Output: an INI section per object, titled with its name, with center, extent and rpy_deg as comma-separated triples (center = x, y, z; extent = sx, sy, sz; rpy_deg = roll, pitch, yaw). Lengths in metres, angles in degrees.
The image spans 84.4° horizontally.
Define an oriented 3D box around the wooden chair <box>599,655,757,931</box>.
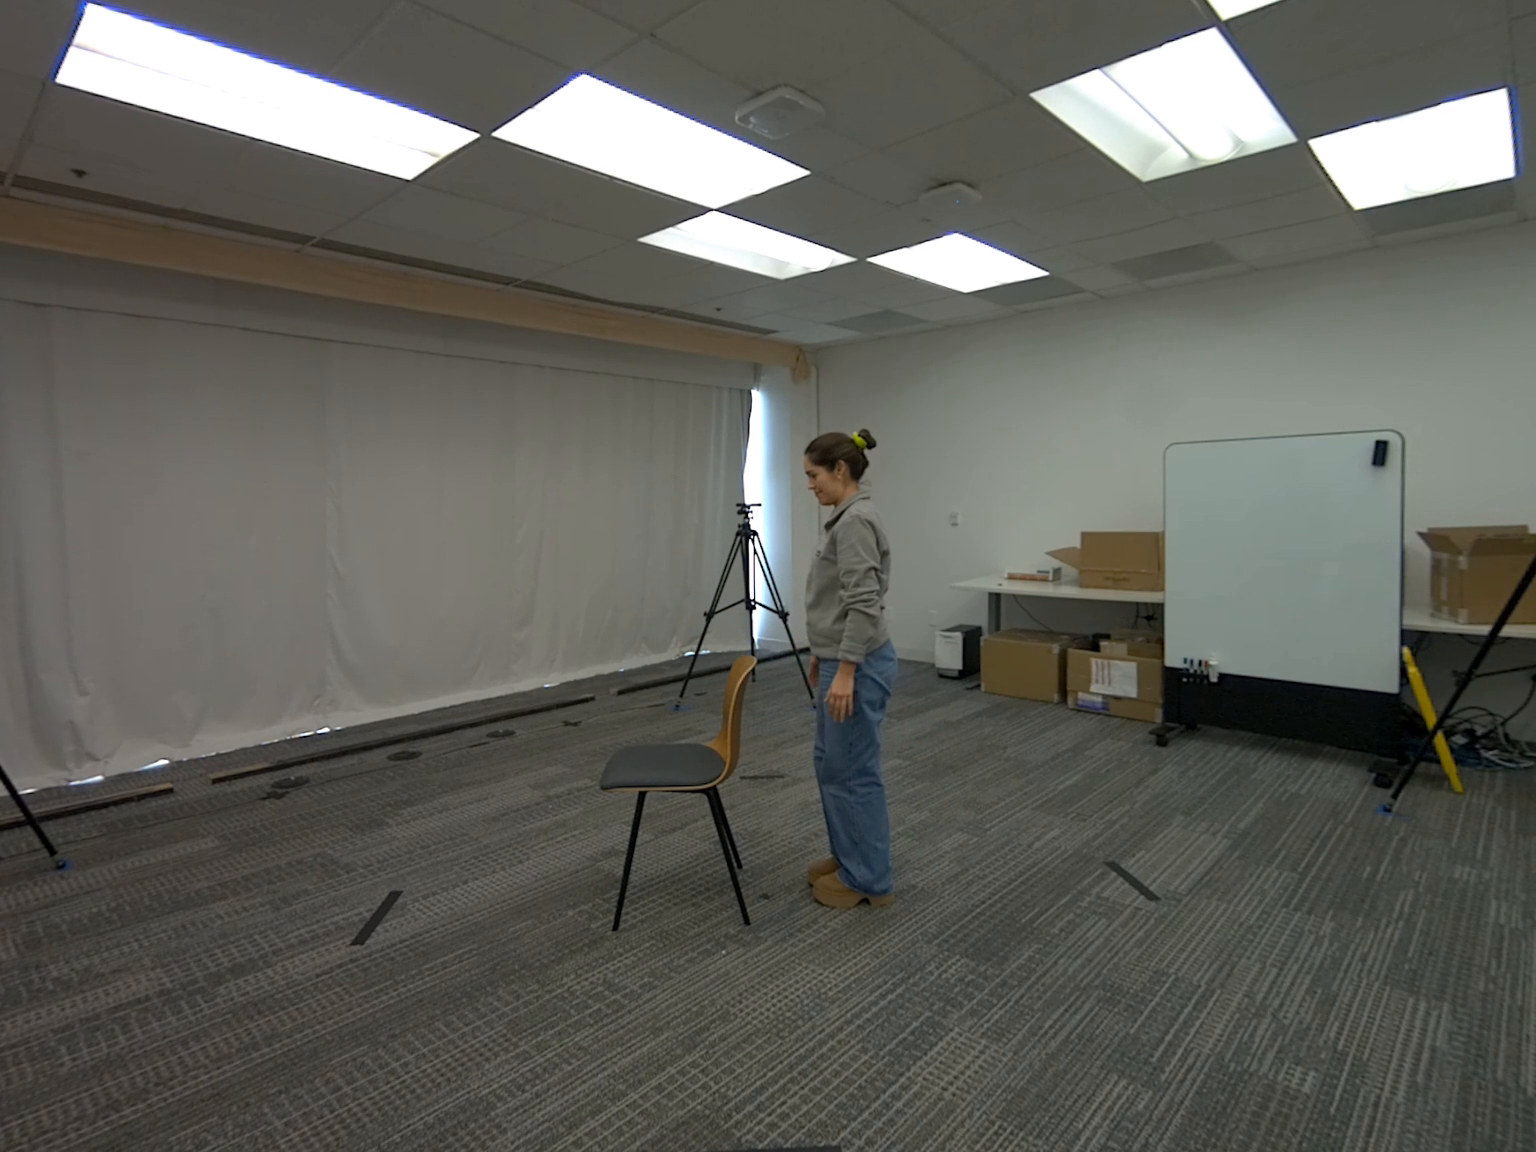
[wooden chair]
center = -0.320, 0.721, 2.966
extent = 0.521, 0.875, 0.481
rpy_deg = 3, 4, -4
